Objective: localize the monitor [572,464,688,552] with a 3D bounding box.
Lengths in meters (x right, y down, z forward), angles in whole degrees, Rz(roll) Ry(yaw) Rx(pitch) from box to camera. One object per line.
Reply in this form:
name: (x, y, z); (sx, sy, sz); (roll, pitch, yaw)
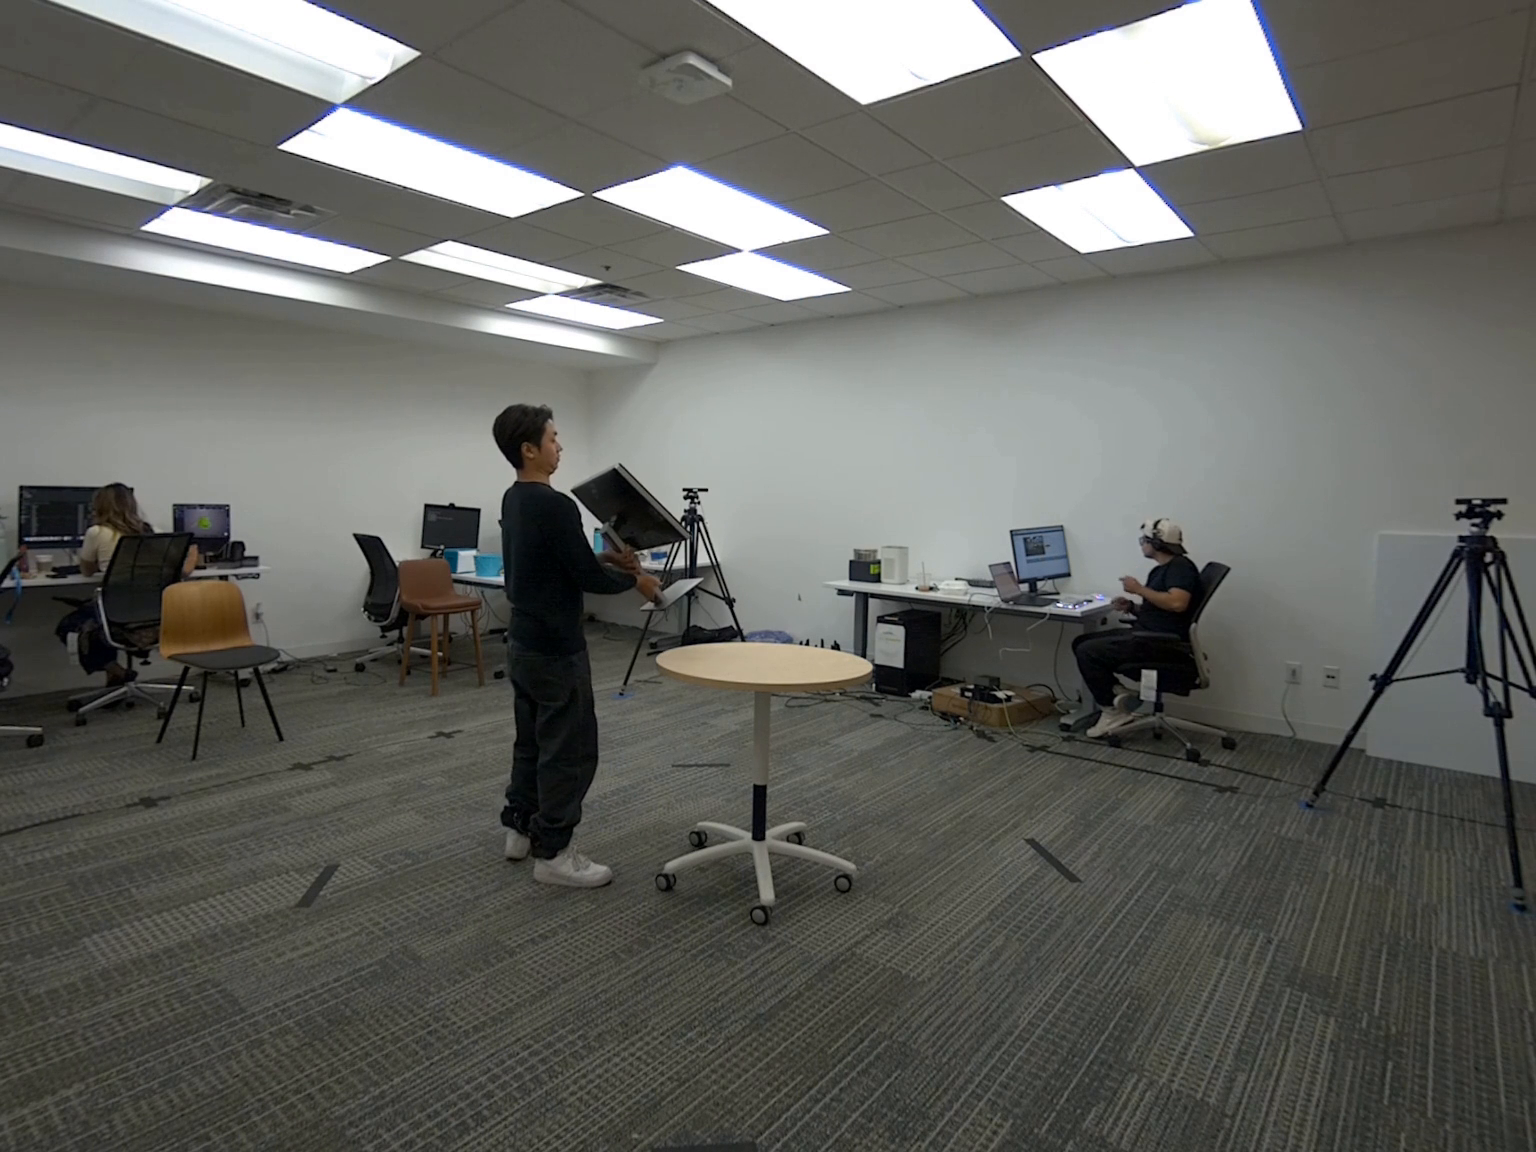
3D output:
monitor: (-0.518, -0.147, 3.179); (0.186, 0.515, 0.550); (-38, 13, -26)
